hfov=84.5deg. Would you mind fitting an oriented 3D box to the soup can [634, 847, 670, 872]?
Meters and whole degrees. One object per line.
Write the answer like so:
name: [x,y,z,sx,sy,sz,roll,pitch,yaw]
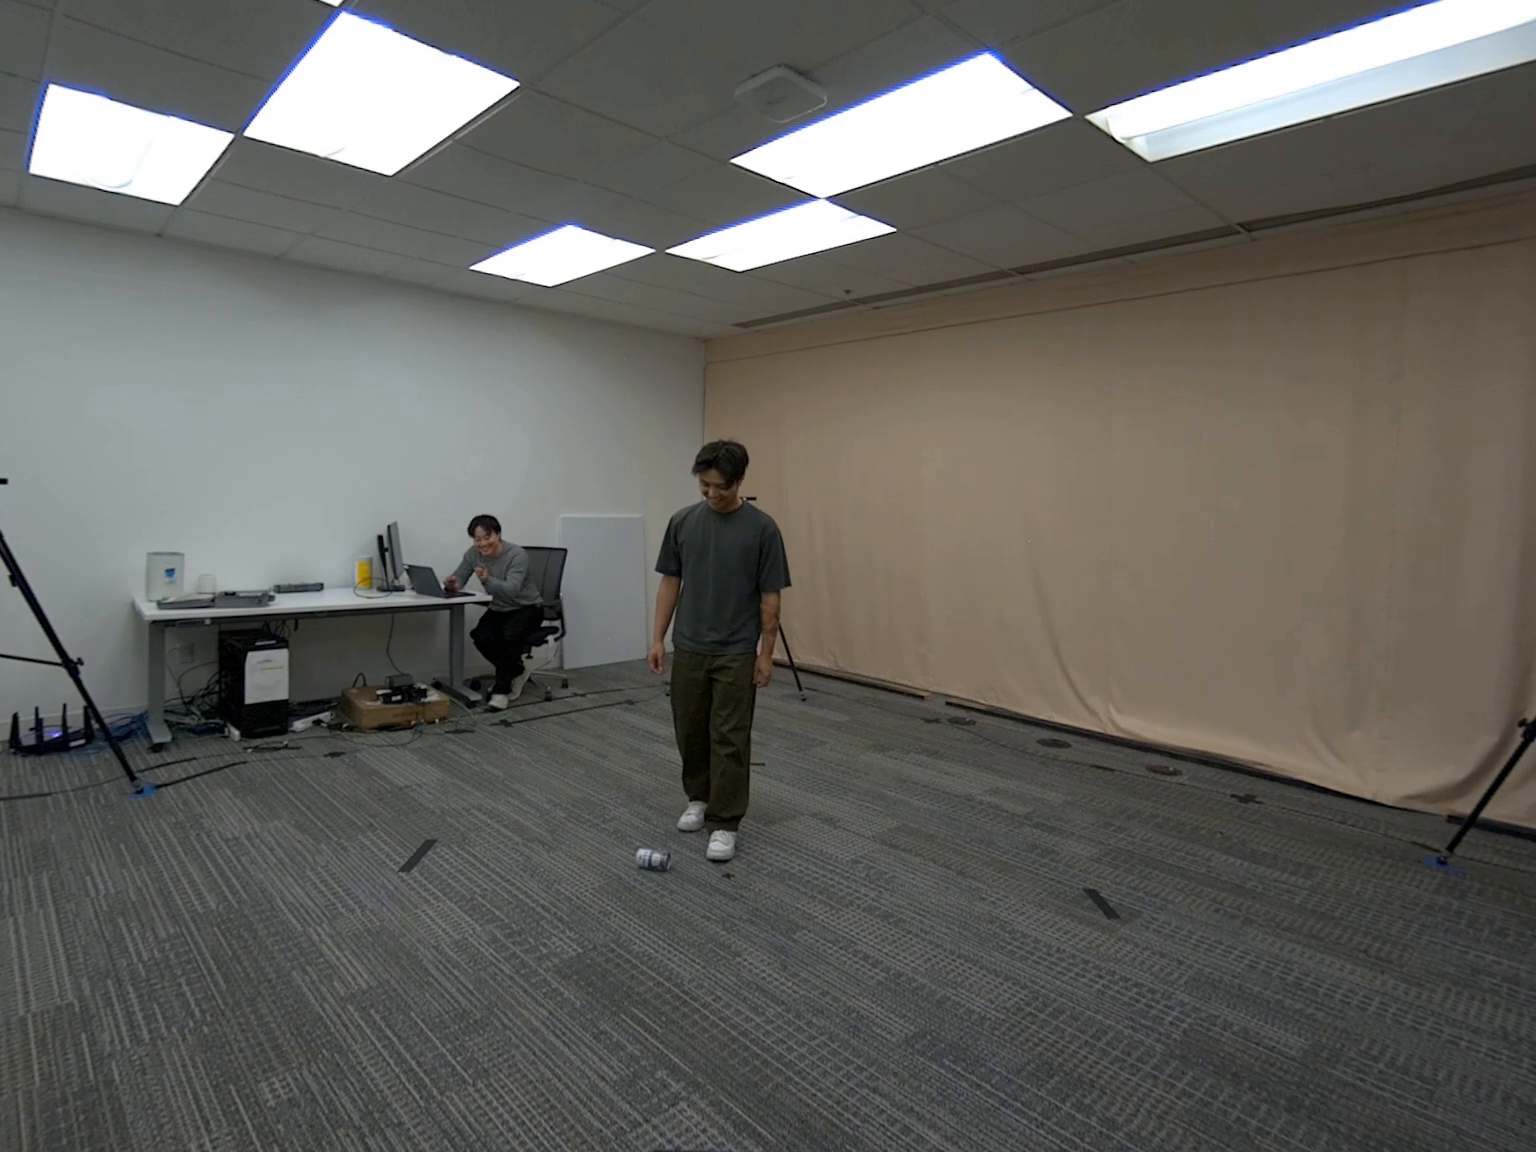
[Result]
soup can: [-0.441,1.056,3.150,0.123,0.067,0.066,4,5,15]
